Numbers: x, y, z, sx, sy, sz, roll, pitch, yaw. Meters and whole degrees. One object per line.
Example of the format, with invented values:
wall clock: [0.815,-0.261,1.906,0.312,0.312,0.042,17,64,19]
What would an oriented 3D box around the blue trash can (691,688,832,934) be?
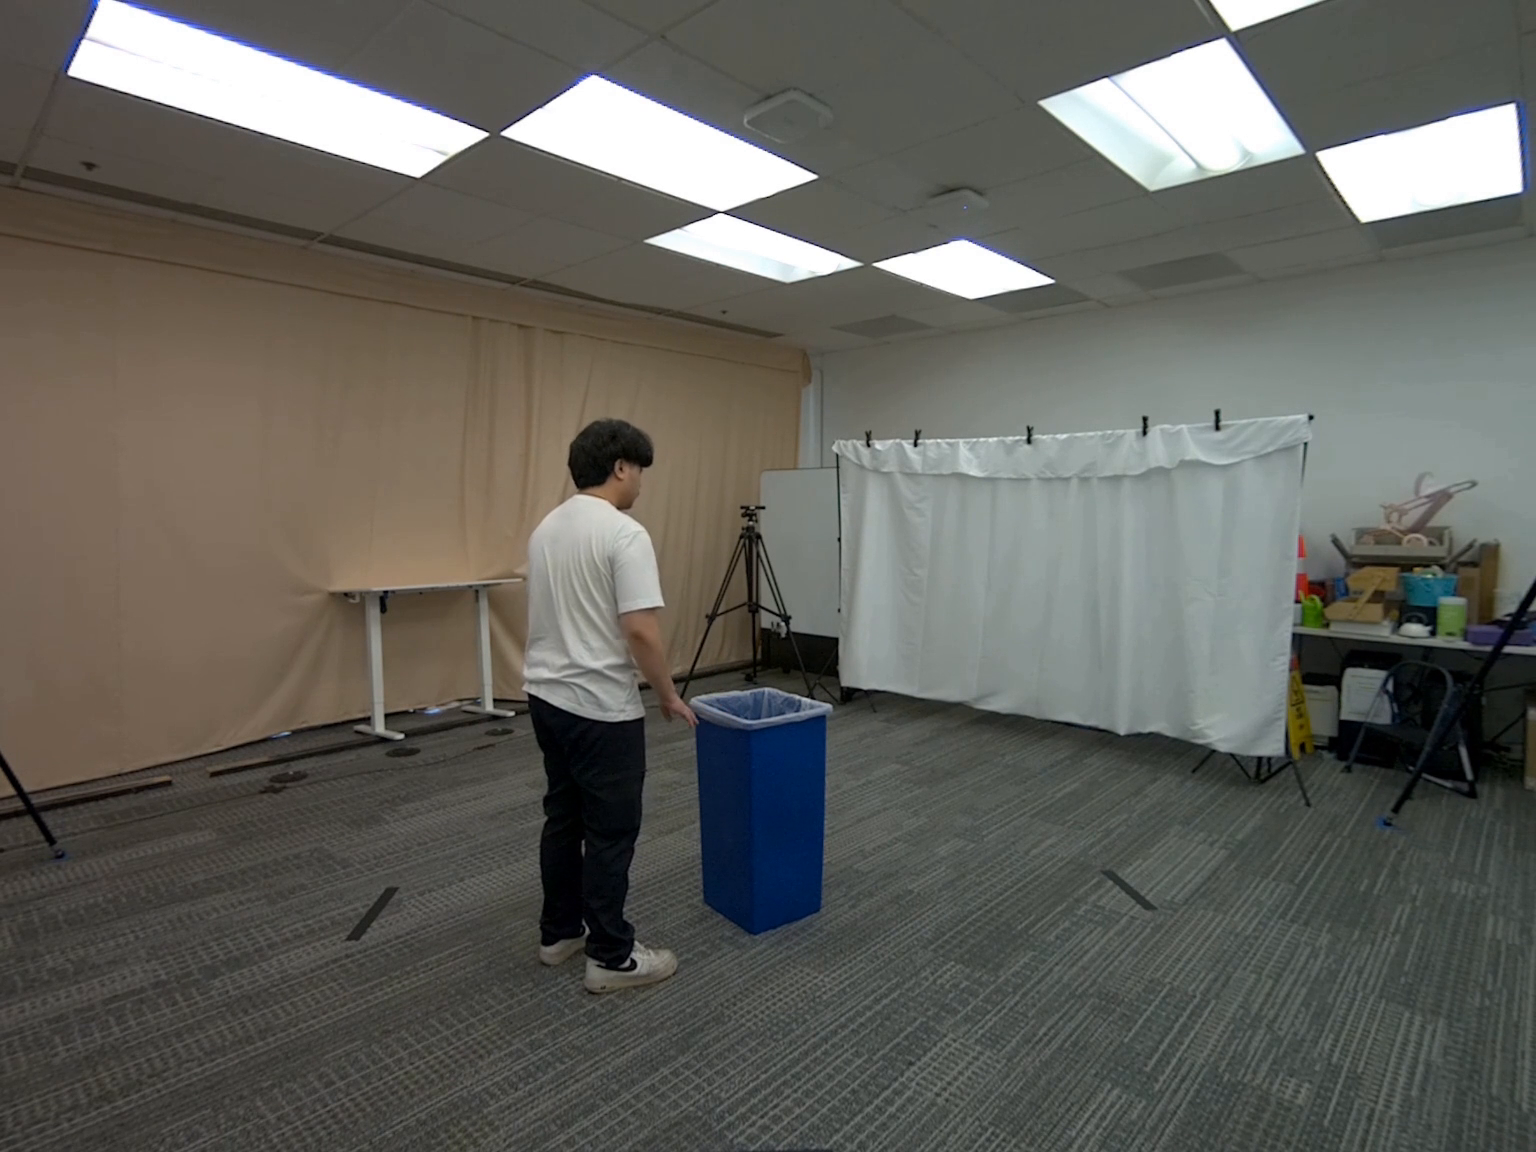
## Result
blue trash can: [-0.026,0.792,2.906,0.363,0.712,0.390,-2,4,-37]
